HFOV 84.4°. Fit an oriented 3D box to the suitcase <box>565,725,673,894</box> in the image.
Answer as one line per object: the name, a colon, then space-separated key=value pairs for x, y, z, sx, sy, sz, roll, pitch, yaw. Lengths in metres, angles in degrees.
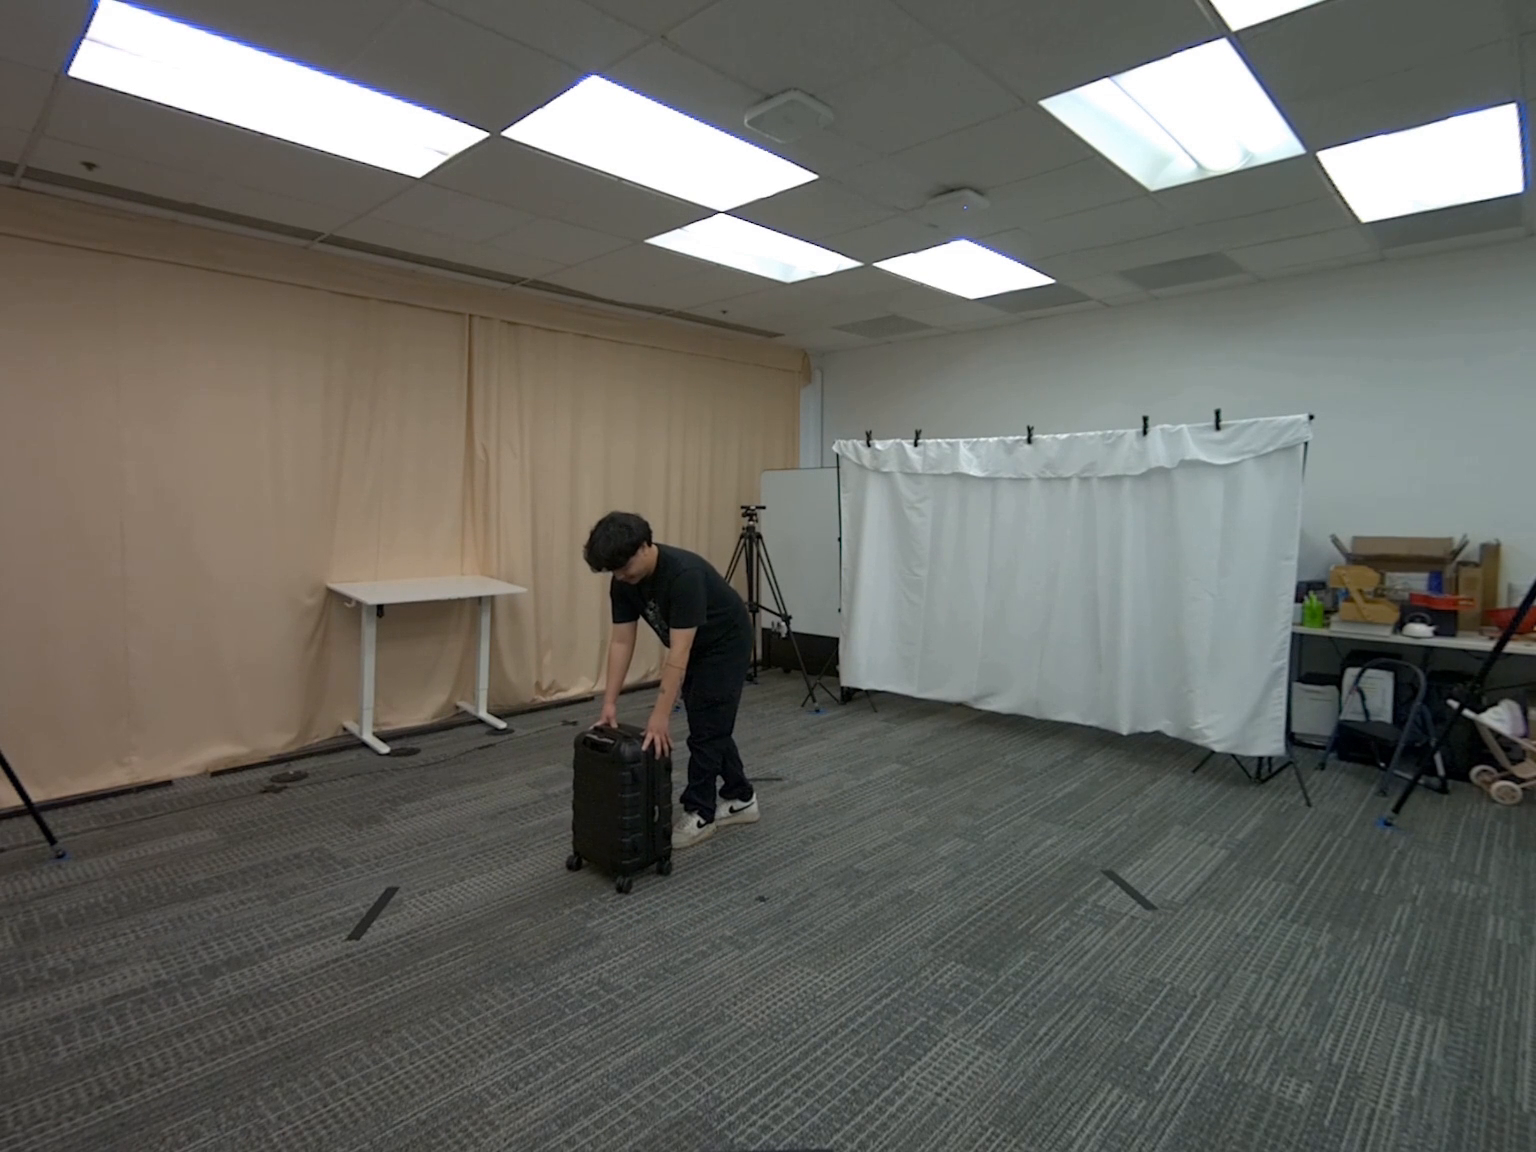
suitcase: x=-0.564 y=0.855 z=3.227 sx=0.388 sy=0.549 sz=0.240 roll=1 pitch=1 yaw=41
